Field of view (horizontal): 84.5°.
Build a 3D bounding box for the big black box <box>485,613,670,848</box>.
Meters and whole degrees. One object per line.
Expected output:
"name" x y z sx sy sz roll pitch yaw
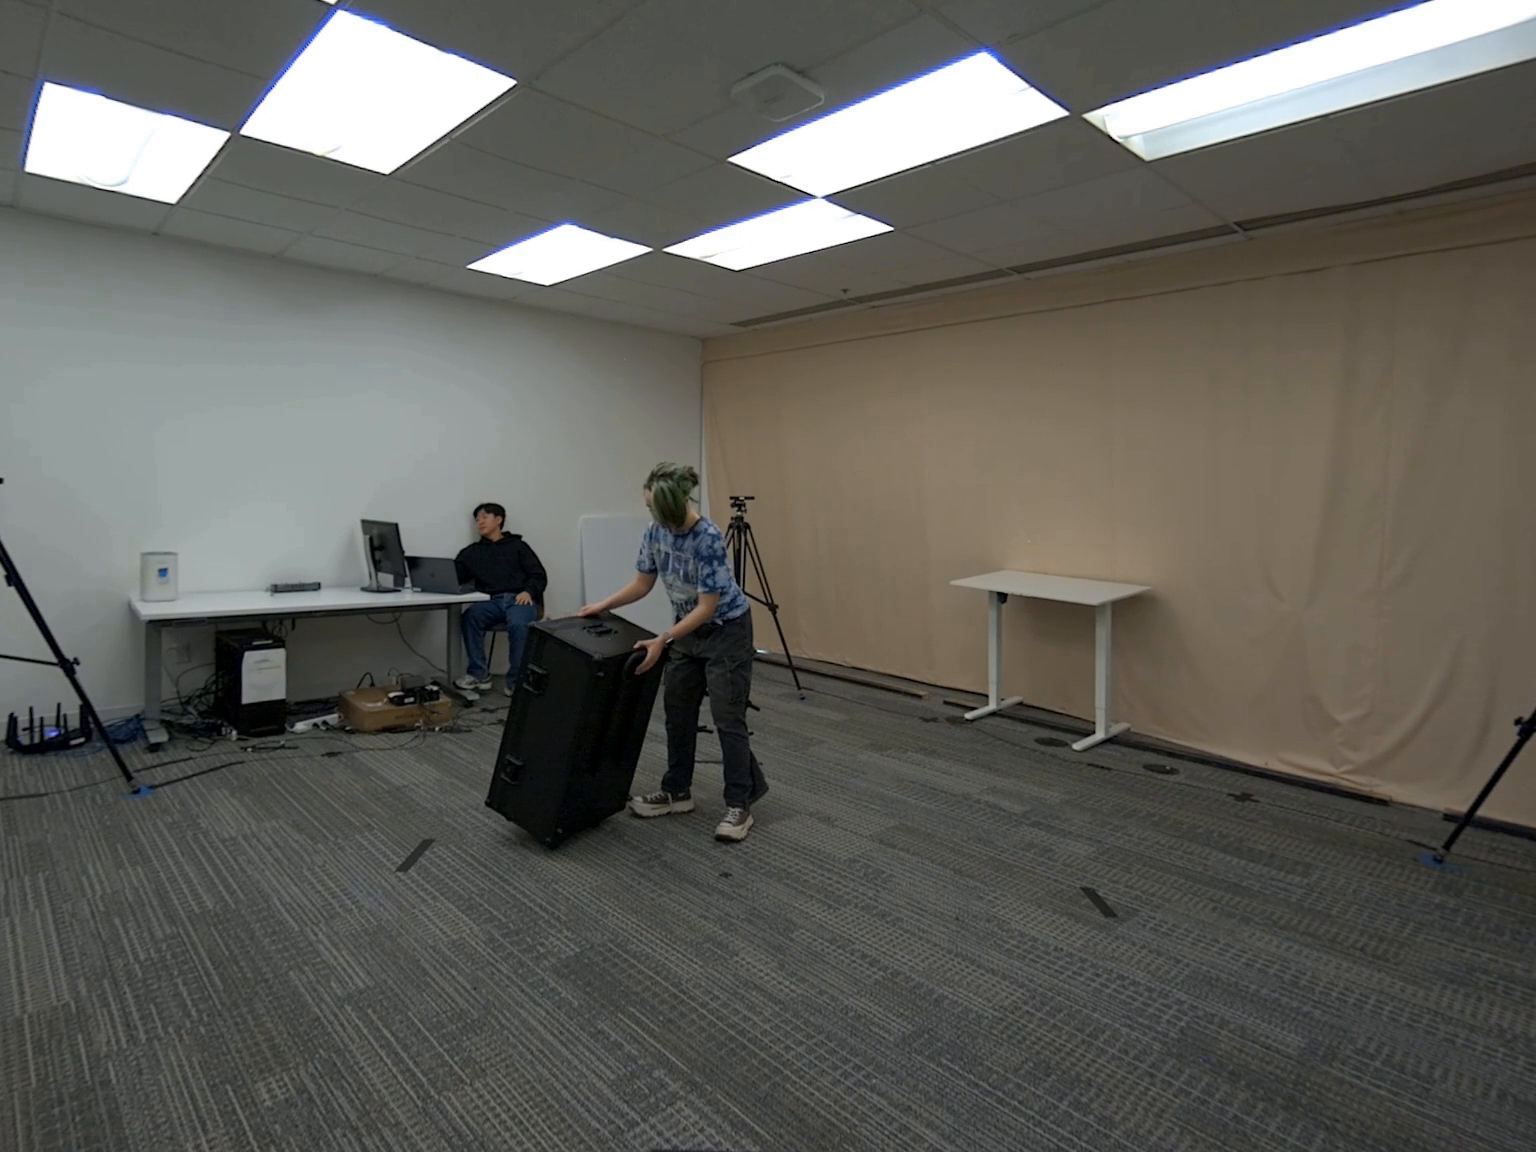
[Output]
"big black box" -0.770 0.625 3.402 0.405 0.857 0.512 21 12 24
